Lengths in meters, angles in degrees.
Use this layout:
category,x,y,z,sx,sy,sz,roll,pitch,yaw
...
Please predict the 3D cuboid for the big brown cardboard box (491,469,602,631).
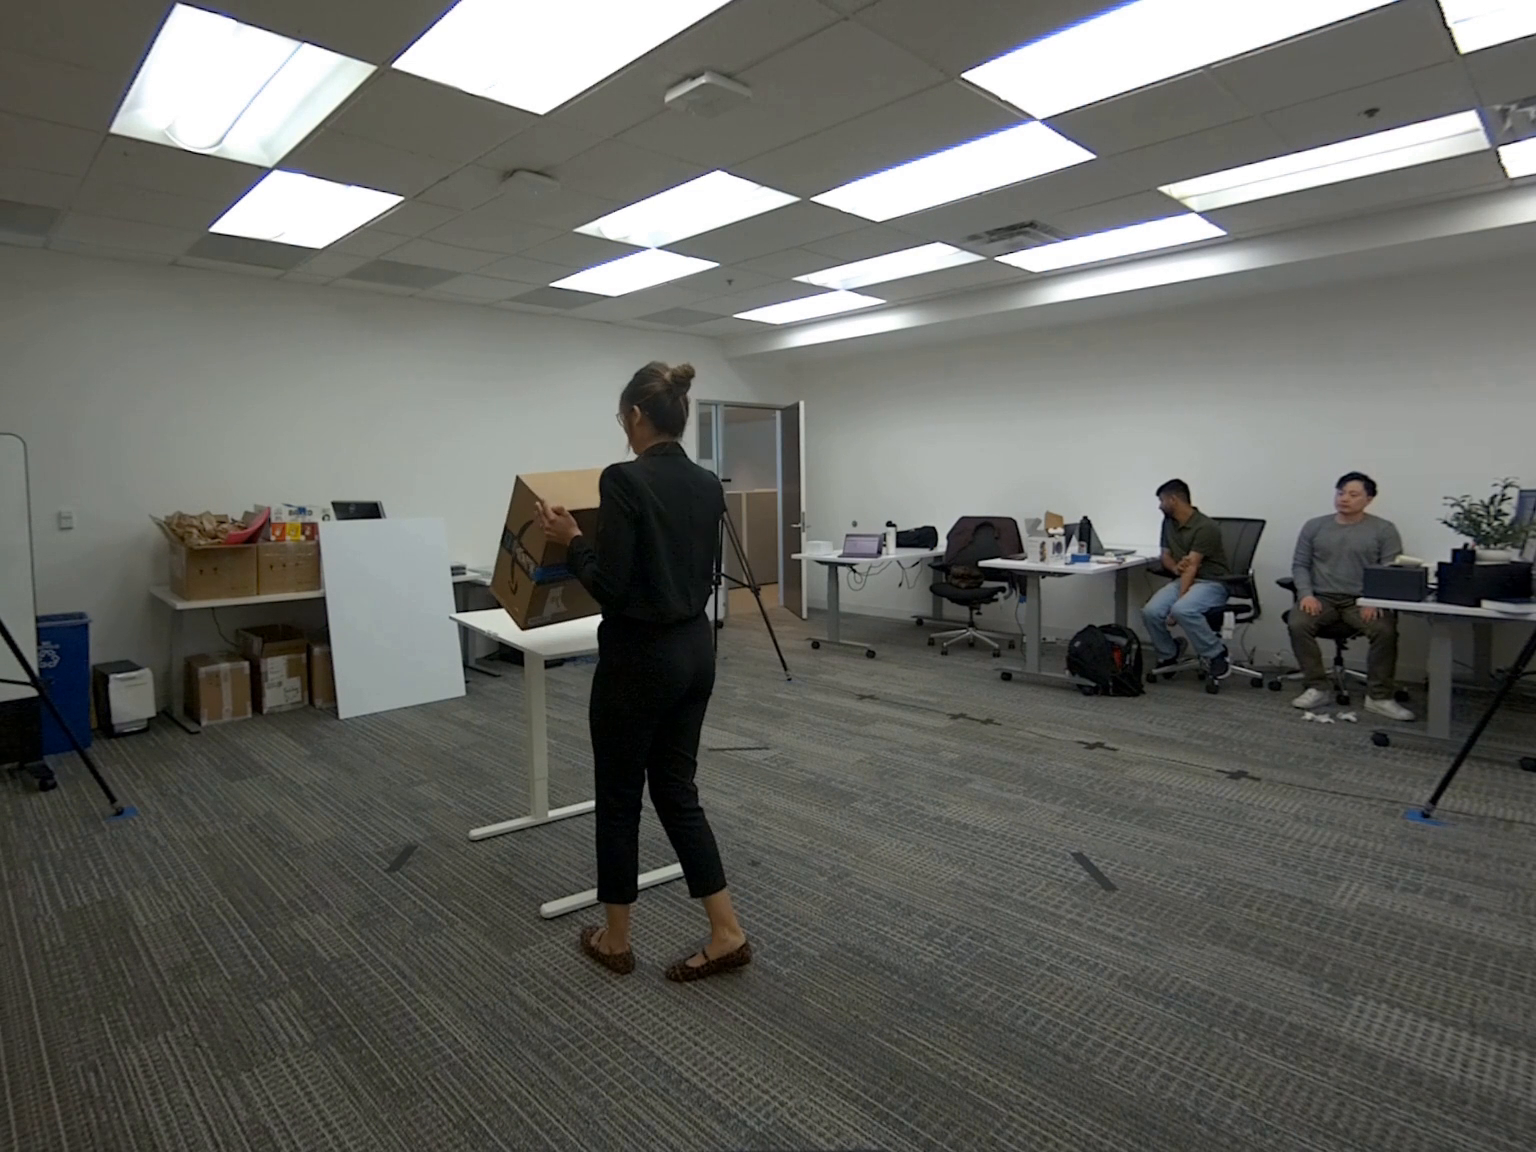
category,x,y,z,sx,sy,sz,roll,pitch,yaw
big brown cardboard box,-0.529,-0.107,2.661,0.575,0.412,0.242,-12,42,-45
